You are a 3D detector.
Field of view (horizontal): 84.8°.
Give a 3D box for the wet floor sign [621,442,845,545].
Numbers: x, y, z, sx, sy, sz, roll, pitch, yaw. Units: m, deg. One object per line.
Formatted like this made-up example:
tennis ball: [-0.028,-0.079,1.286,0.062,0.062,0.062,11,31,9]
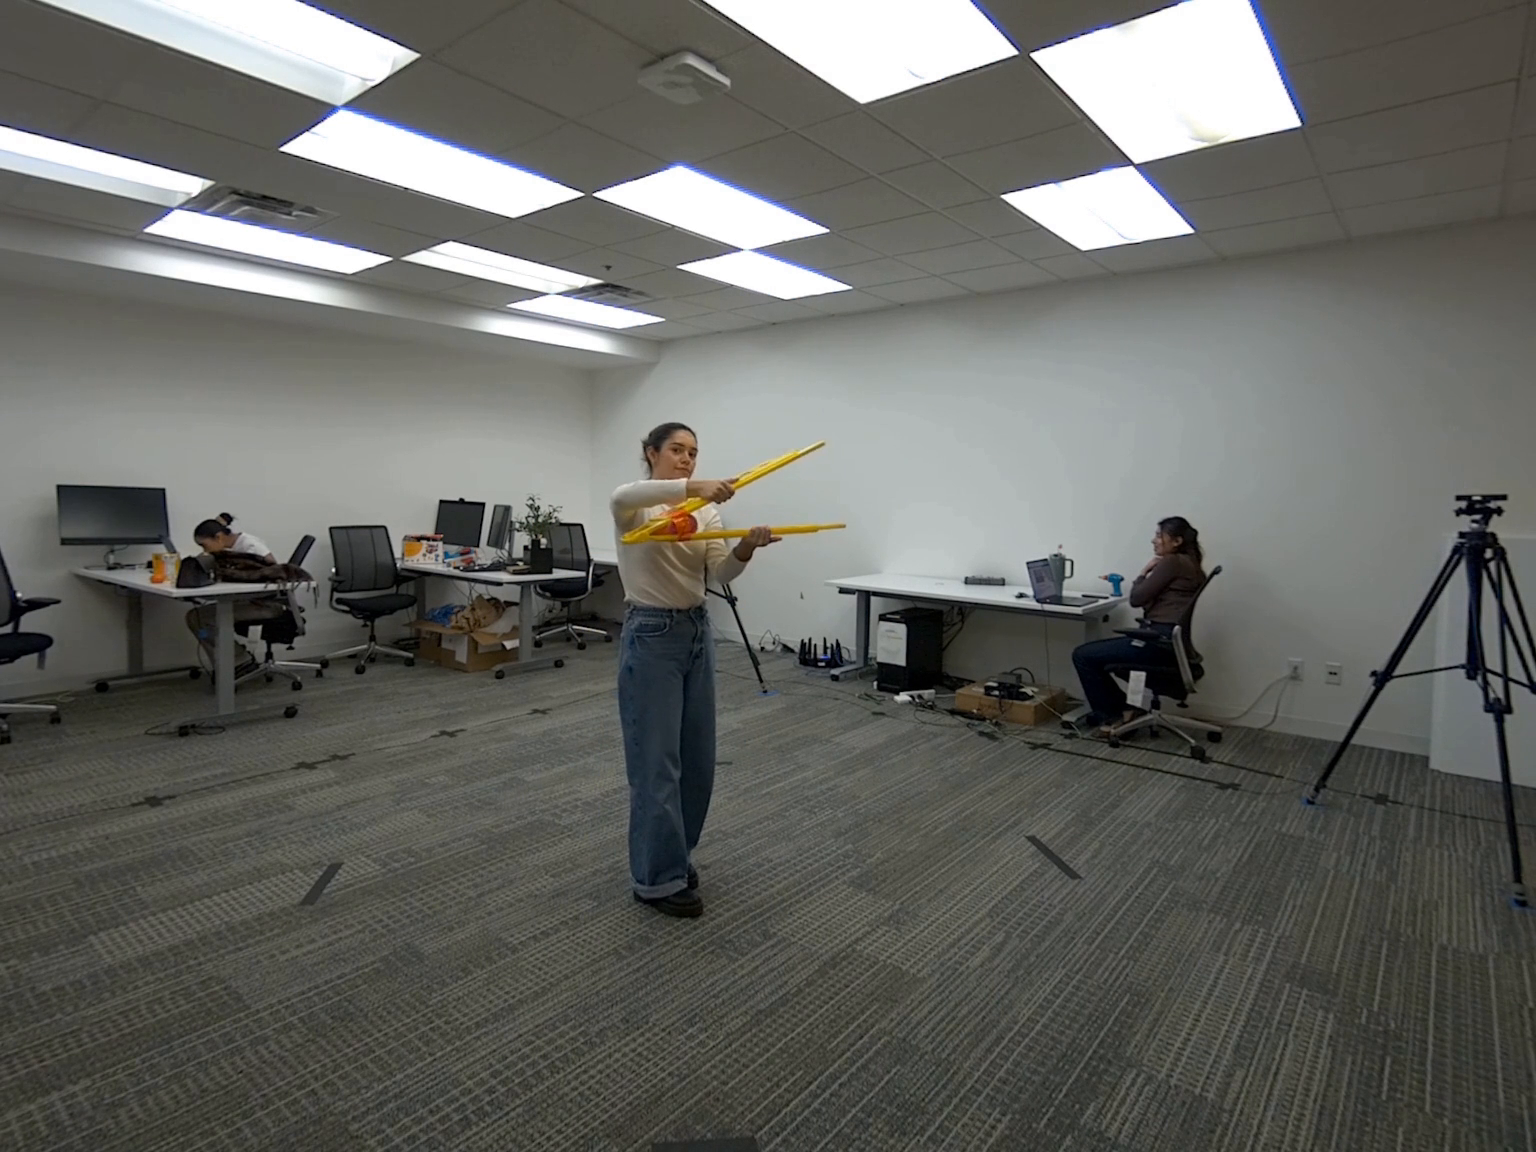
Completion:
wet floor sign: [-0.132,-0.199,2.610,0.637,0.289,0.287,-15,4,-17]
